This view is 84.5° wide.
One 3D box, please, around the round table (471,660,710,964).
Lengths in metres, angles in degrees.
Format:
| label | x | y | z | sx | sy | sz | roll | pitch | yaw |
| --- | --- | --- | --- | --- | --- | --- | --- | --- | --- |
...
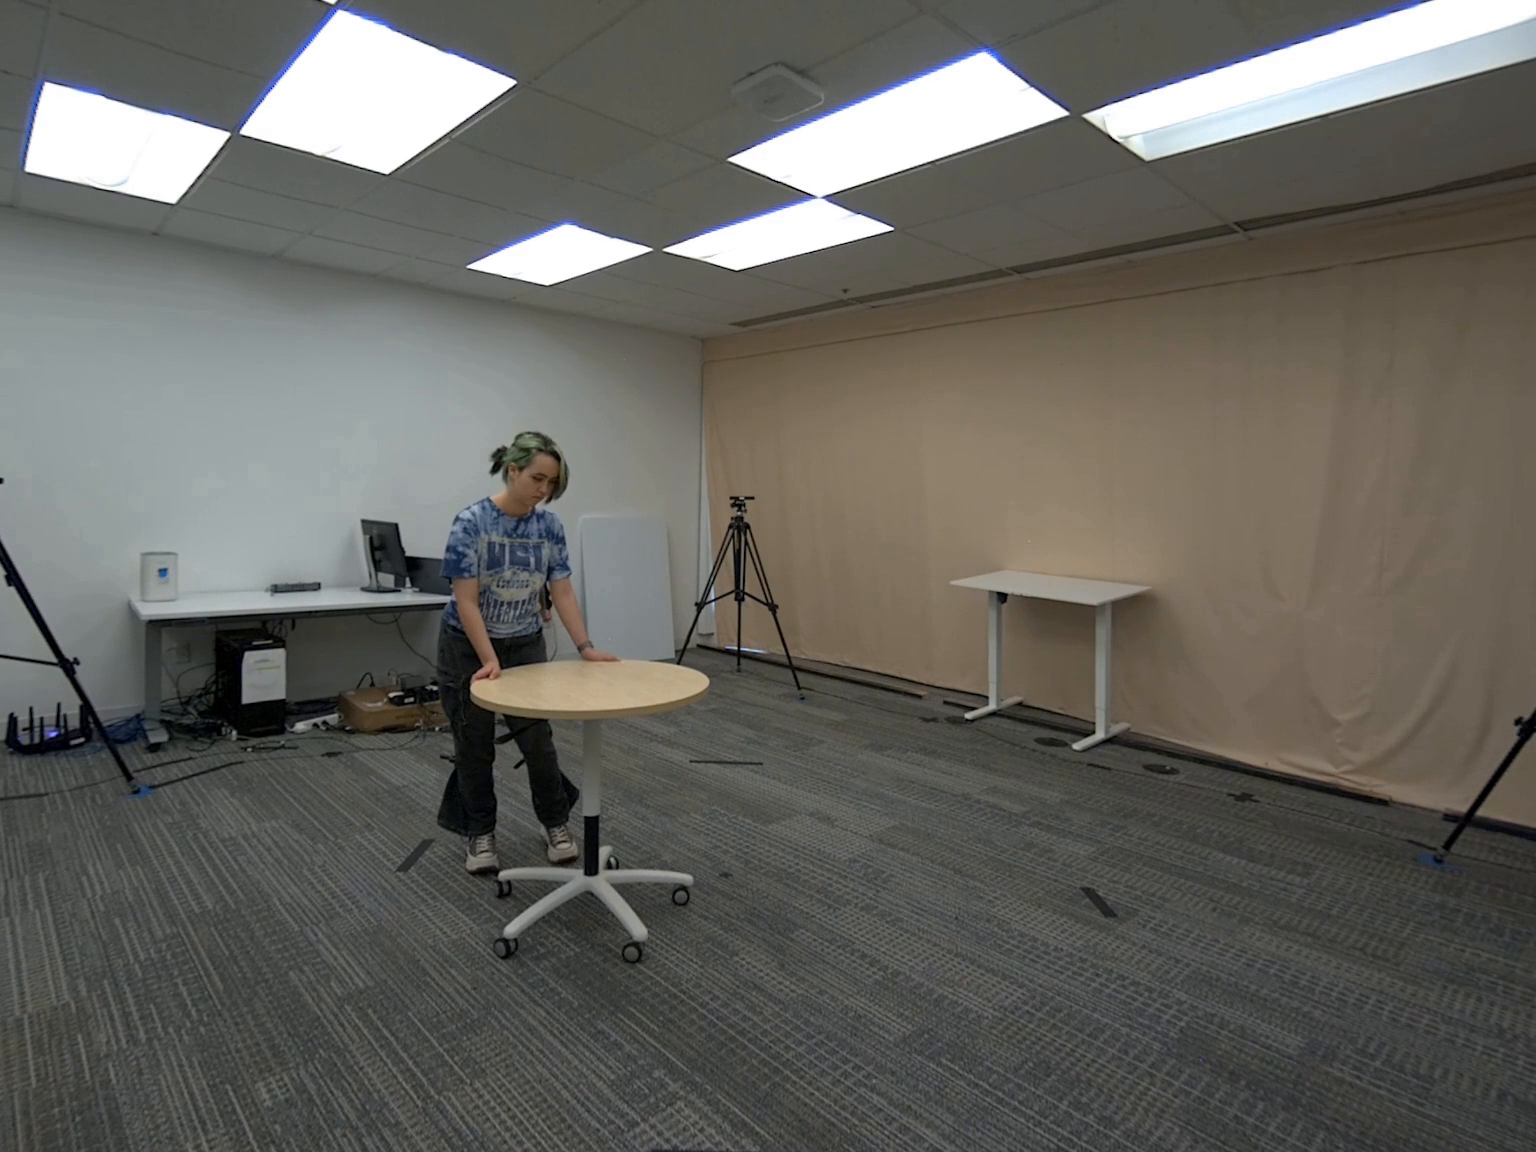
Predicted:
| label | x | y | z | sx | sy | sz | roll | pitch | yaw |
| --- | --- | --- | --- | --- | --- | --- | --- | --- | --- |
| round table | -0.588 | 0.740 | 2.761 | 0.763 | 0.792 | 0.766 | 1 | 4 | -1 |
